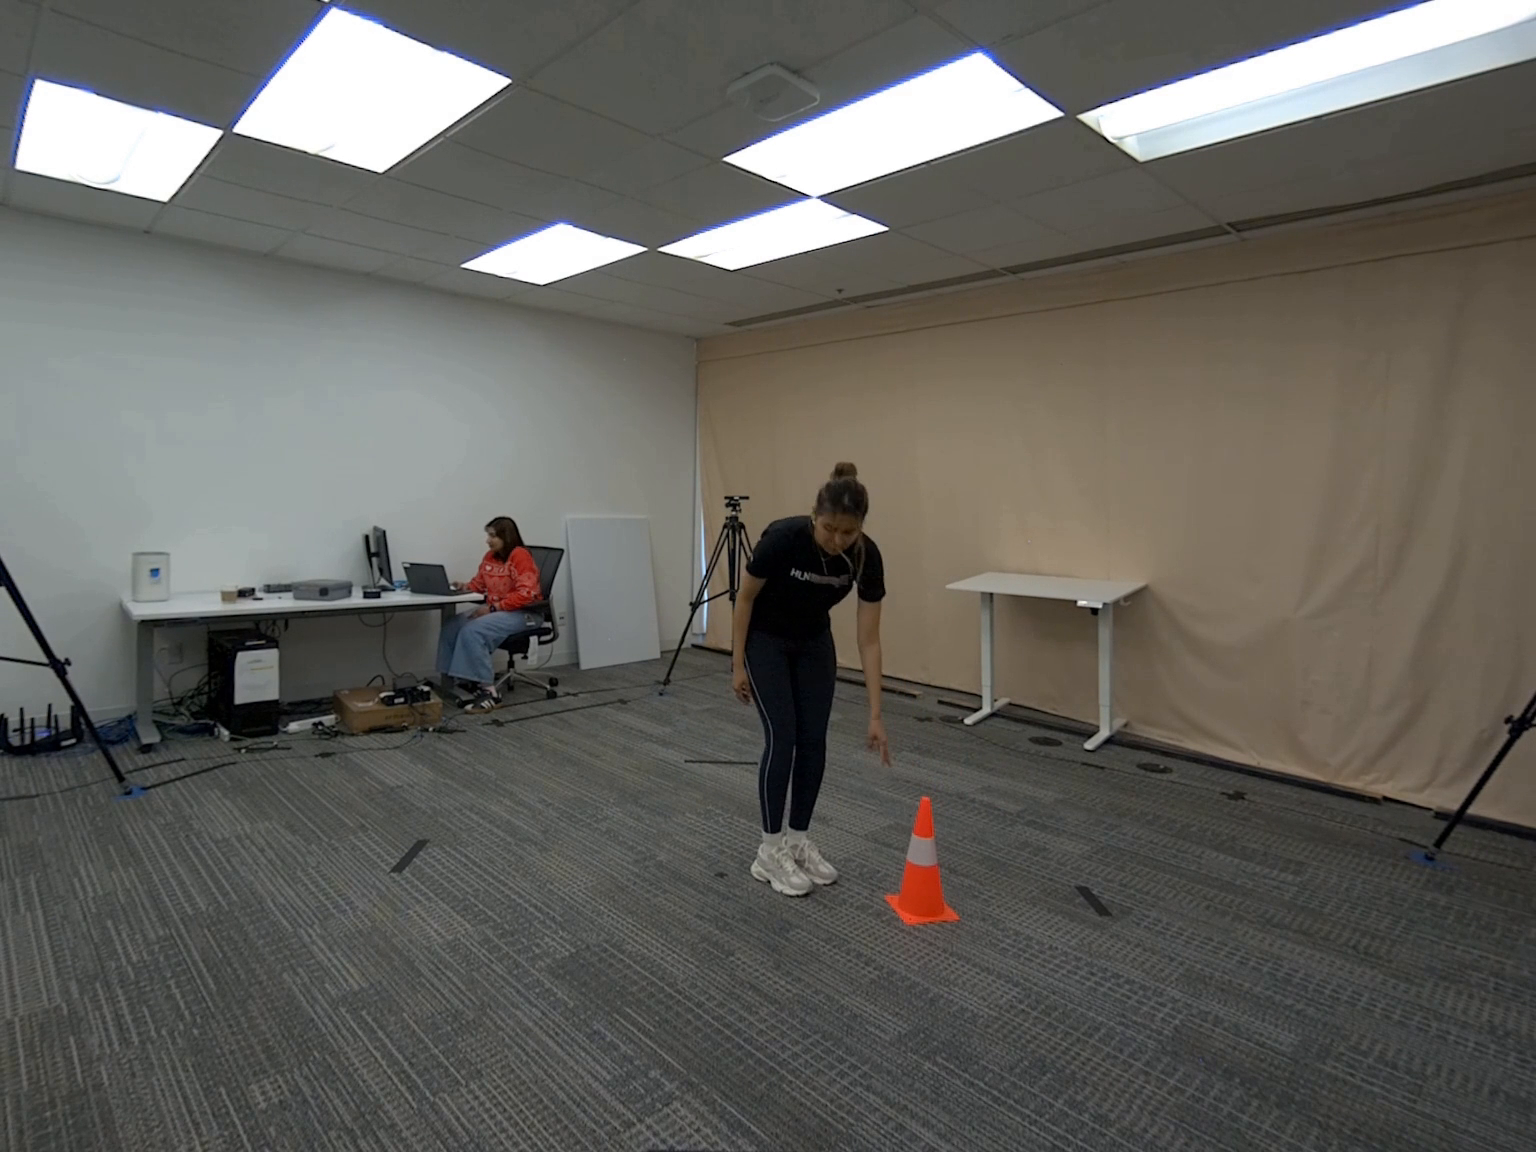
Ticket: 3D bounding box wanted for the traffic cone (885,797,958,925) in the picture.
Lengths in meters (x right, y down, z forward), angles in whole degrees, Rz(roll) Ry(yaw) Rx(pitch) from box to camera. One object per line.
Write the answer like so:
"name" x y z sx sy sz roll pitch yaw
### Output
"traffic cone" 0.532 0.956 2.880 0.202 0.382 0.206 1 4 -15
